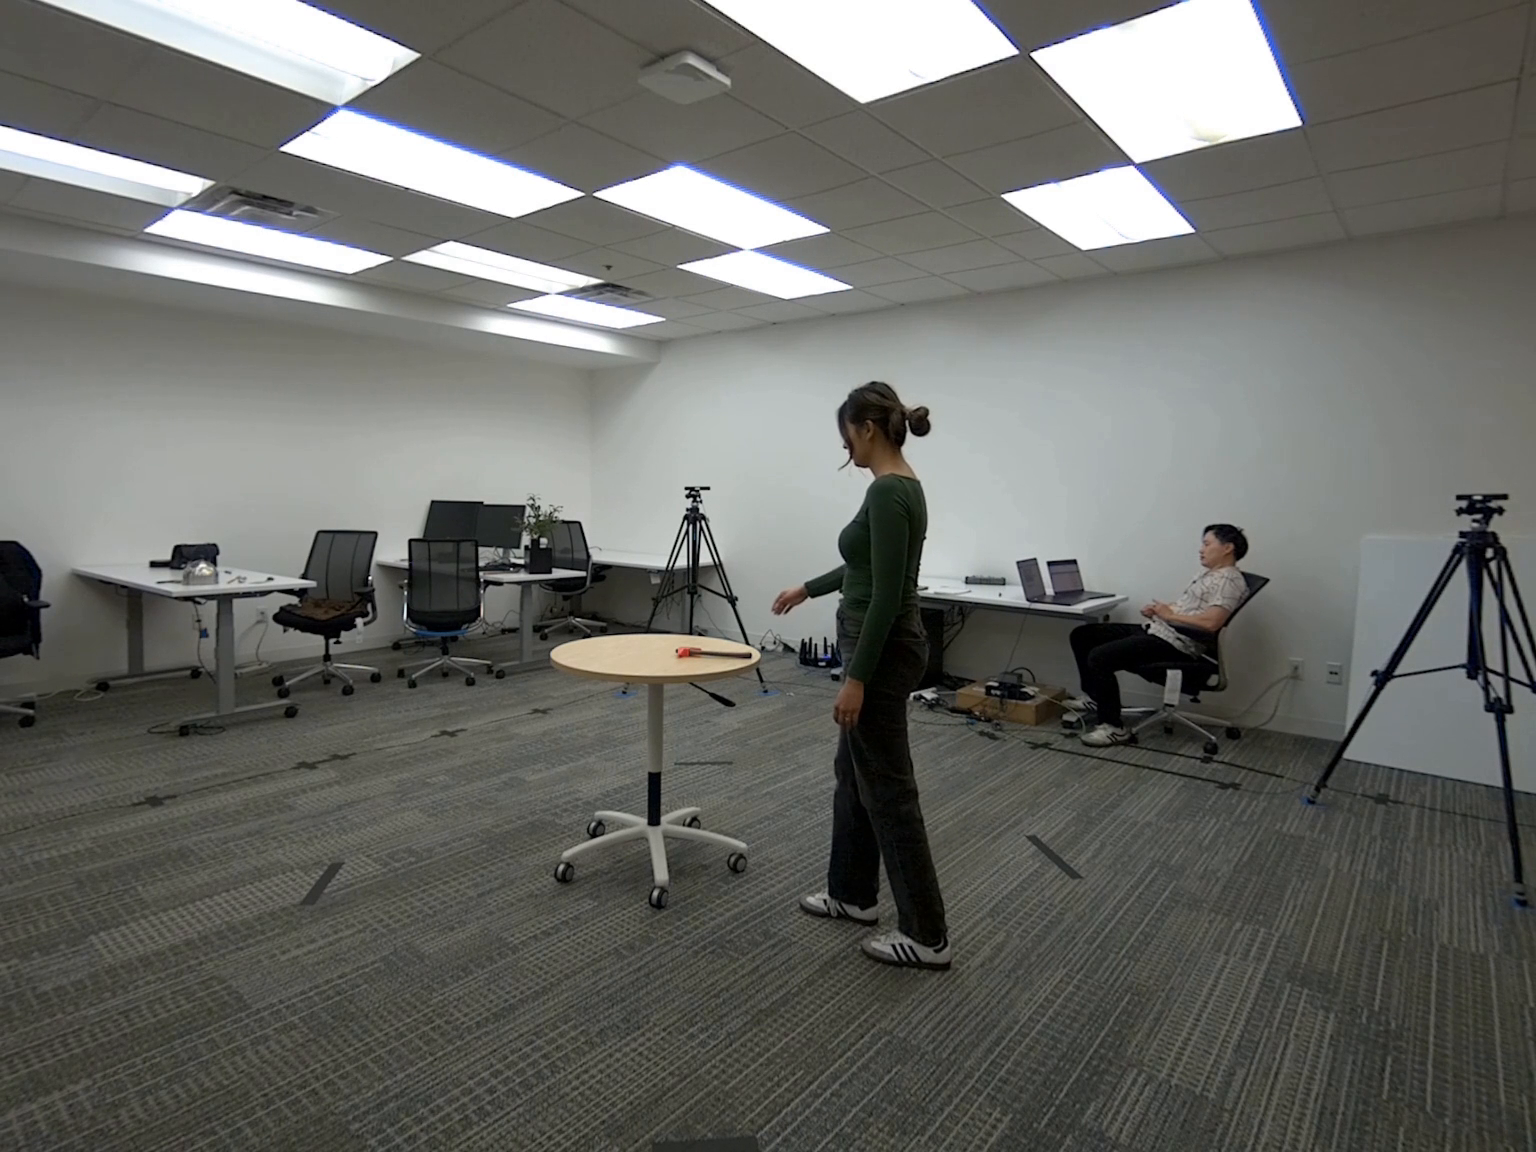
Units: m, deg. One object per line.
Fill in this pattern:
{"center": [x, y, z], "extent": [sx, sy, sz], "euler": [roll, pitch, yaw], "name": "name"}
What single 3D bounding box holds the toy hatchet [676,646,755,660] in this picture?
{"center": [-0.207, 0.276, 3.083], "extent": [0.268, 0.029, 0.132], "euler": [2, 2, -7], "name": "toy hatchet"}
